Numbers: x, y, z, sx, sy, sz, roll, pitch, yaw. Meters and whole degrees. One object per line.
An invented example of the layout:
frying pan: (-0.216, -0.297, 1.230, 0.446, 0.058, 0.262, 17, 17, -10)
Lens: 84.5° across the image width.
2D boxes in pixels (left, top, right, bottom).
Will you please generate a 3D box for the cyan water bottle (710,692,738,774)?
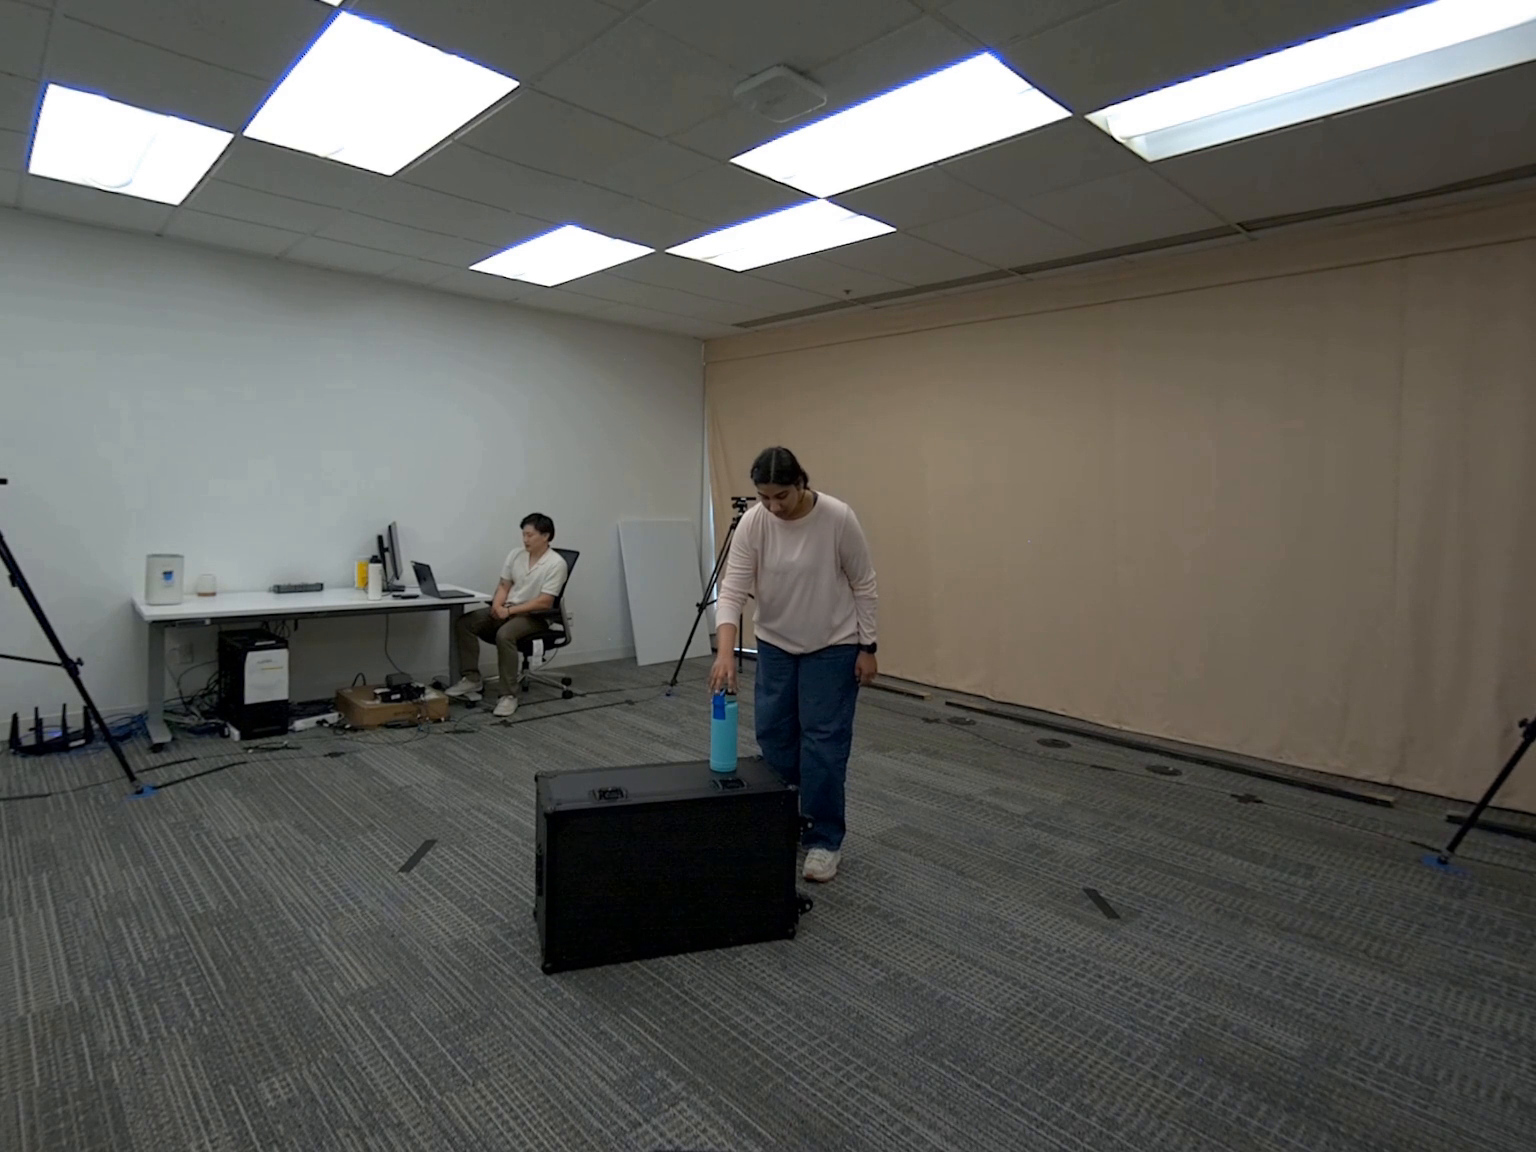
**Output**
cyan water bottle: (-0.157, 0.510, 2.820, 0.092, 0.282, 0.093, 0, 5, -1)
